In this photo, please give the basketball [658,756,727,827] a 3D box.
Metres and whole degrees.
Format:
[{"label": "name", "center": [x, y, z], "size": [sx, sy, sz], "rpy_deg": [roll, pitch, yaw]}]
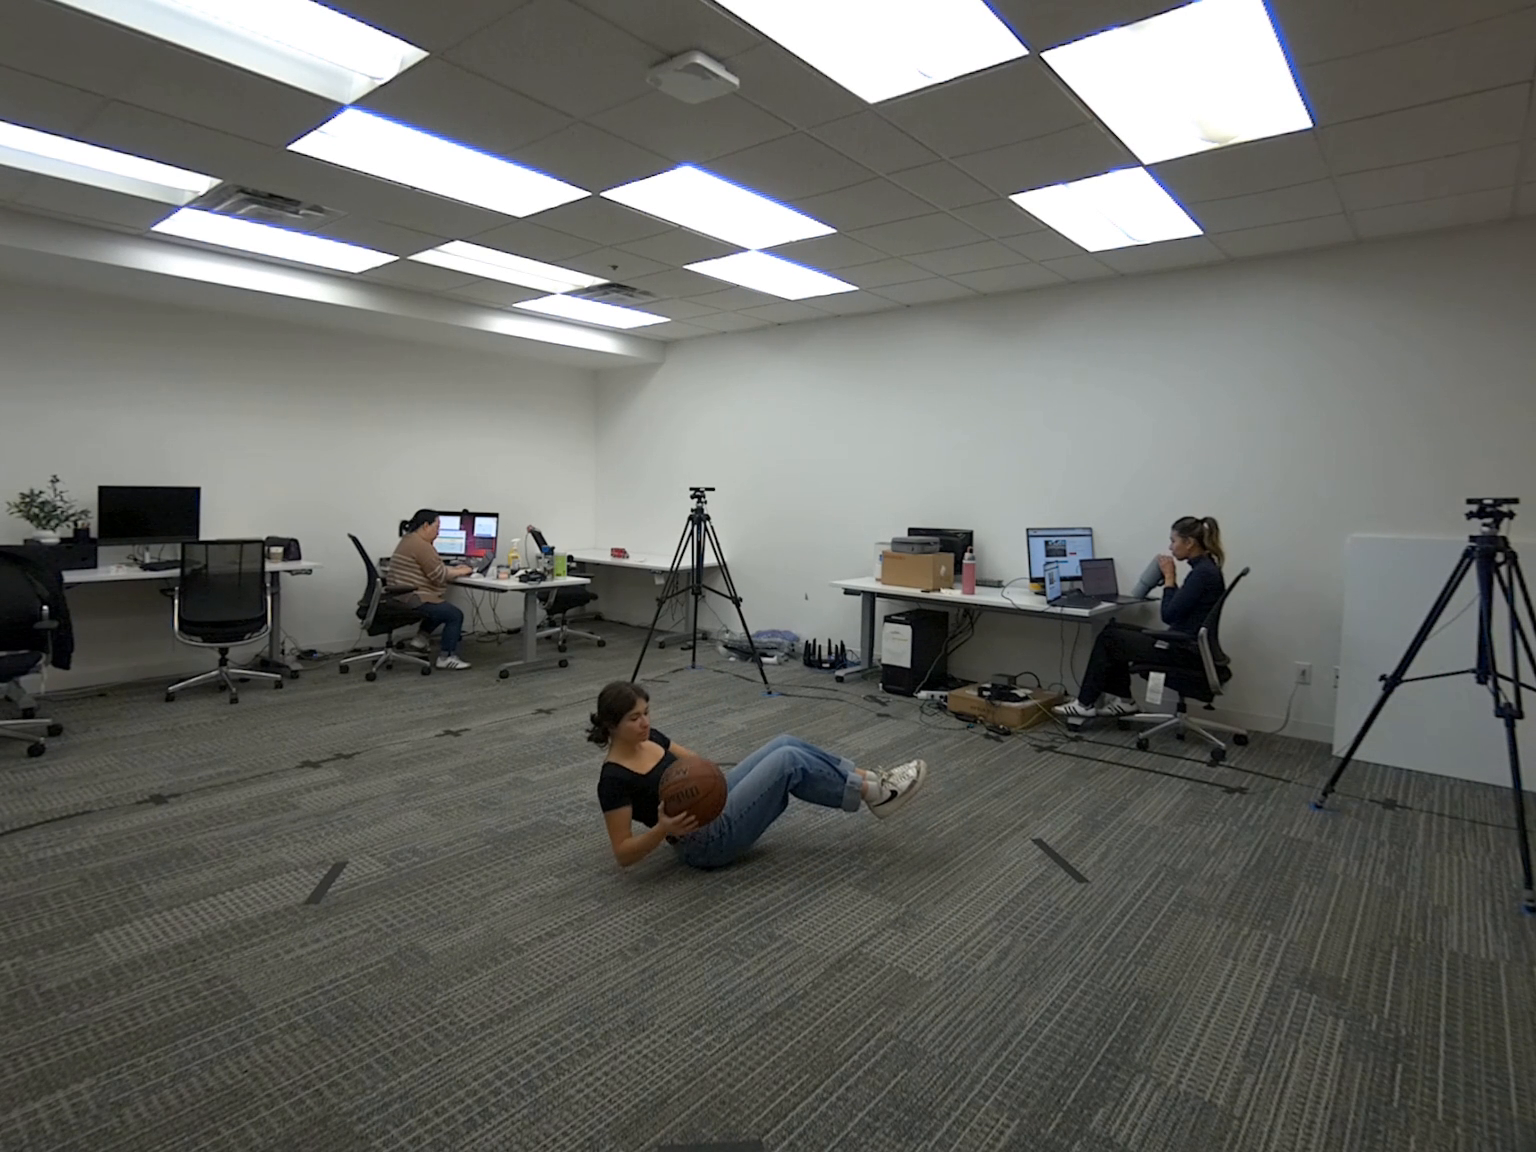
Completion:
[{"label": "basketball", "center": [-0.275, 0.751, 2.954], "size": [0.235, 0.235, 0.237], "rpy_deg": [1, 4, -2]}]
